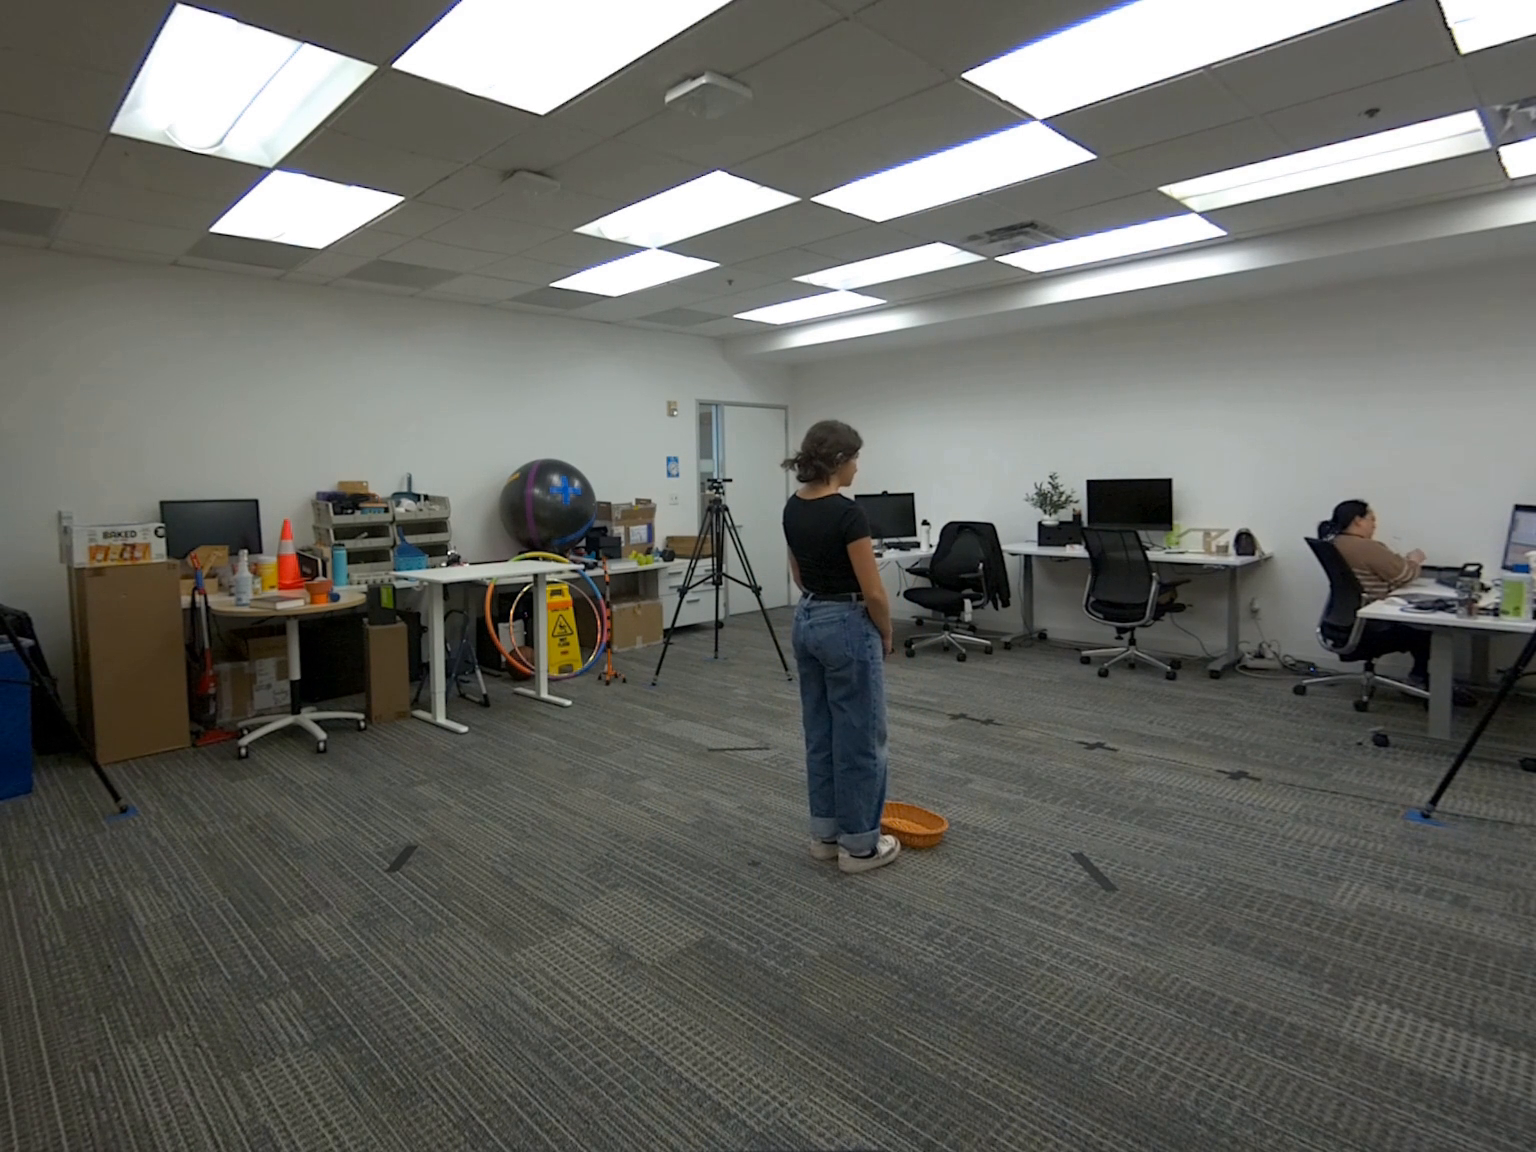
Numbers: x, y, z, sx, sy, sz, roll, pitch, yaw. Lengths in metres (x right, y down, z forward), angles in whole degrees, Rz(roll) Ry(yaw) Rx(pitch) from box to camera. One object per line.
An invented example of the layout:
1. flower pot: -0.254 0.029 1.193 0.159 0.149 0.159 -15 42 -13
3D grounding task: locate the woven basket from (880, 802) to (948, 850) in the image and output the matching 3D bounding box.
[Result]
1. woven basket: 0.536 0.970 3.335 0.246 0.073 0.361 -3 6 -35
